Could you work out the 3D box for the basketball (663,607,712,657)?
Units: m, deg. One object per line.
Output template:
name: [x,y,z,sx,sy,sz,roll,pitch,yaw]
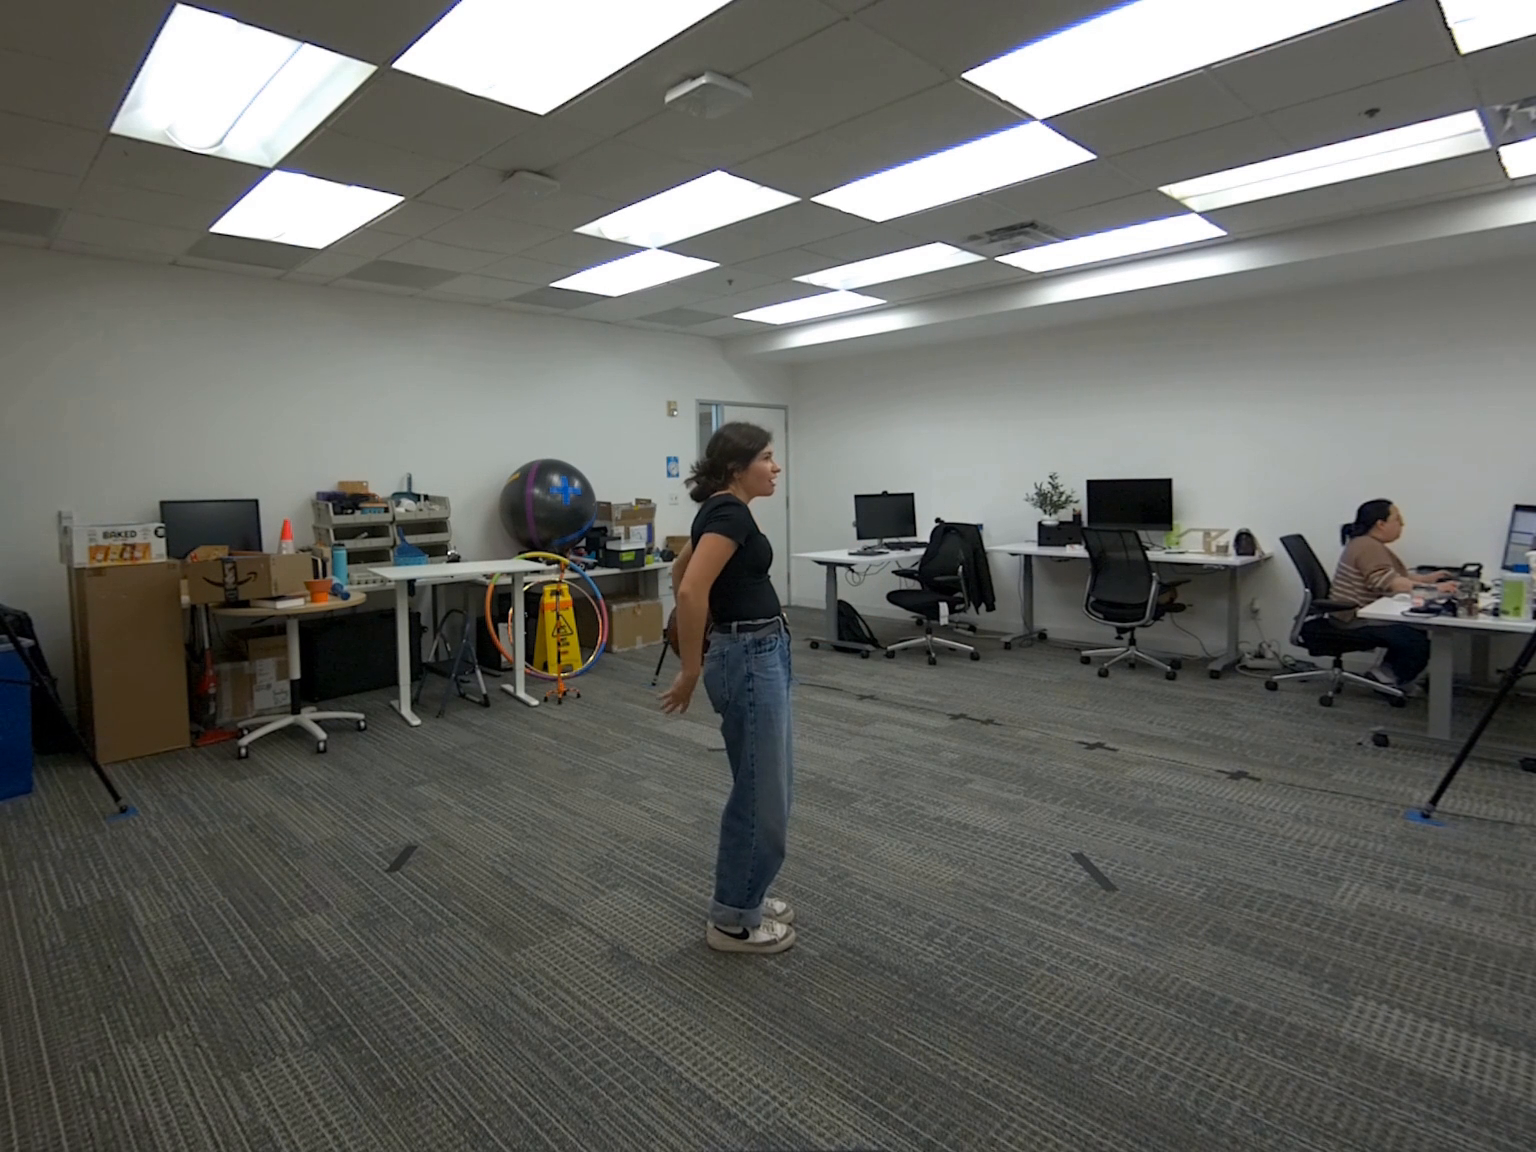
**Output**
basketball: [-0.197,0.175,2.783,0.236,0.235,0.237,-1,5,-2]
